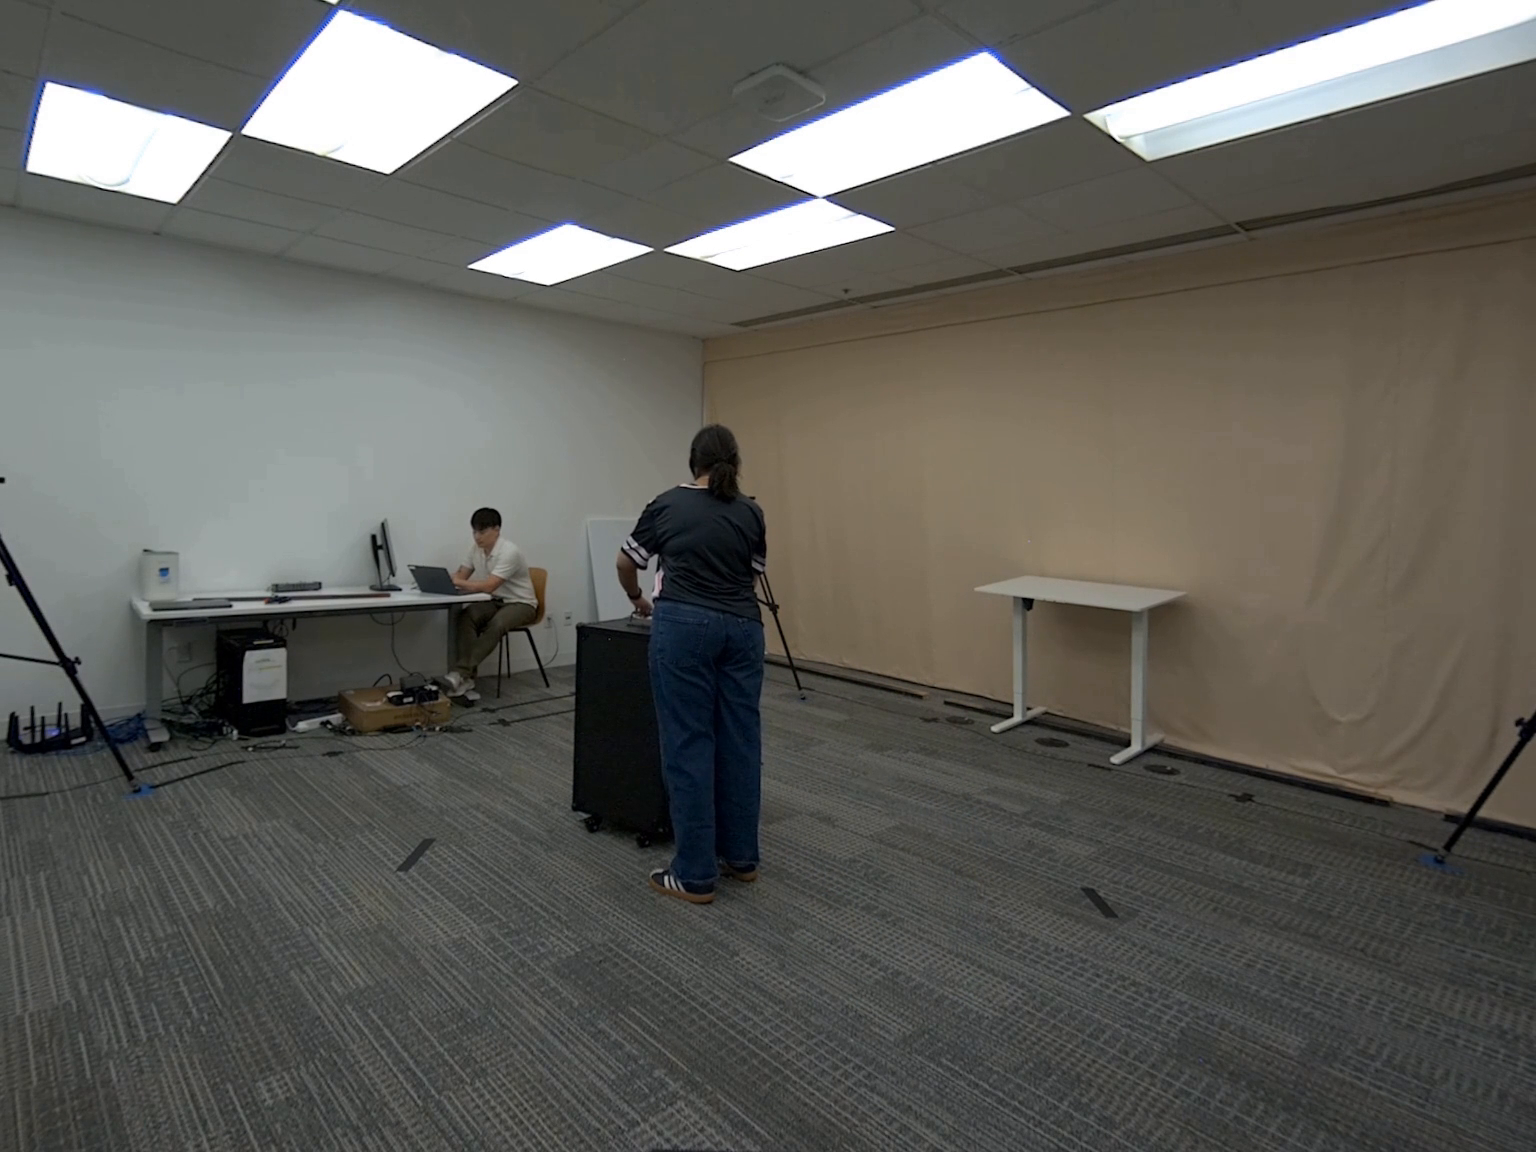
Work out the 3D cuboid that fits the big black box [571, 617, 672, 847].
[{"bbox_3d":[-0.523,0.633,3.538,0.535,0.867,0.377,4,3,30],"label":"big black box"}]
